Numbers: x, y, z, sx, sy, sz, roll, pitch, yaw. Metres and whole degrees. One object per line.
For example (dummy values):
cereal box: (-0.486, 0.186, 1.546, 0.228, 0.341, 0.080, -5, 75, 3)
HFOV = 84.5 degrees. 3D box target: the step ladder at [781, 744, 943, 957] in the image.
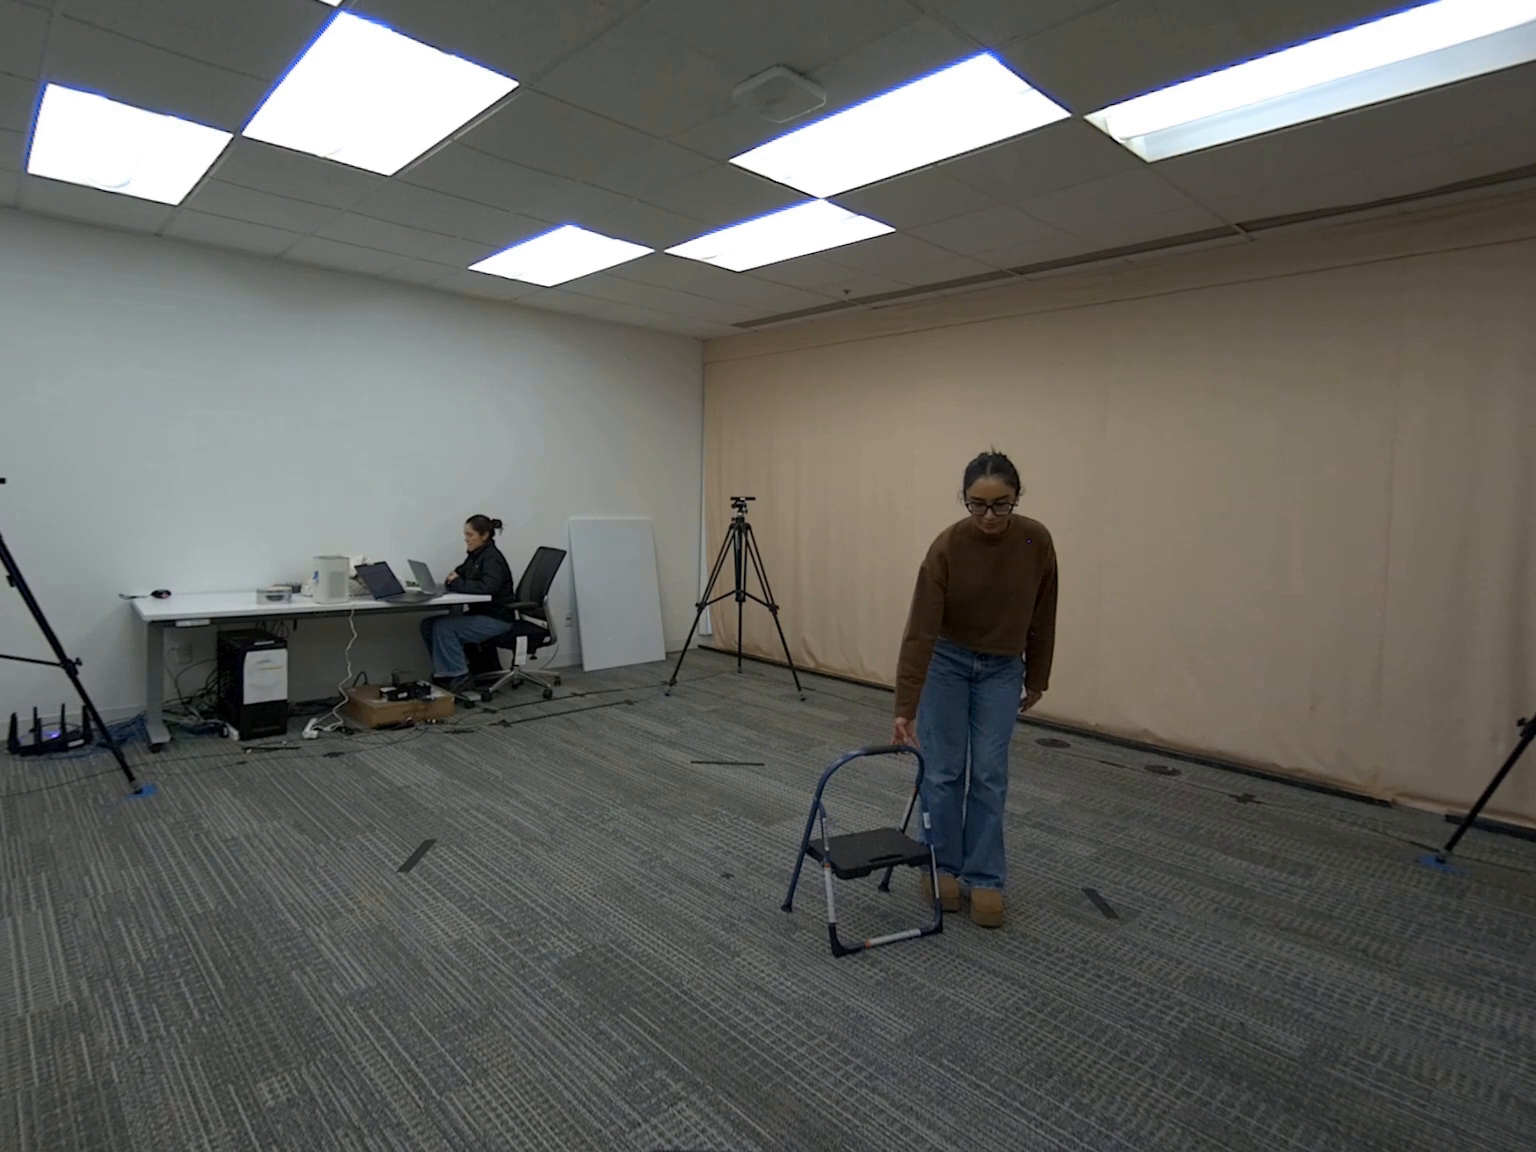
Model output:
step ladder: (0.313, 0.844, 2.777, 0.423, 0.604, 0.357, 0, 4, -26)
